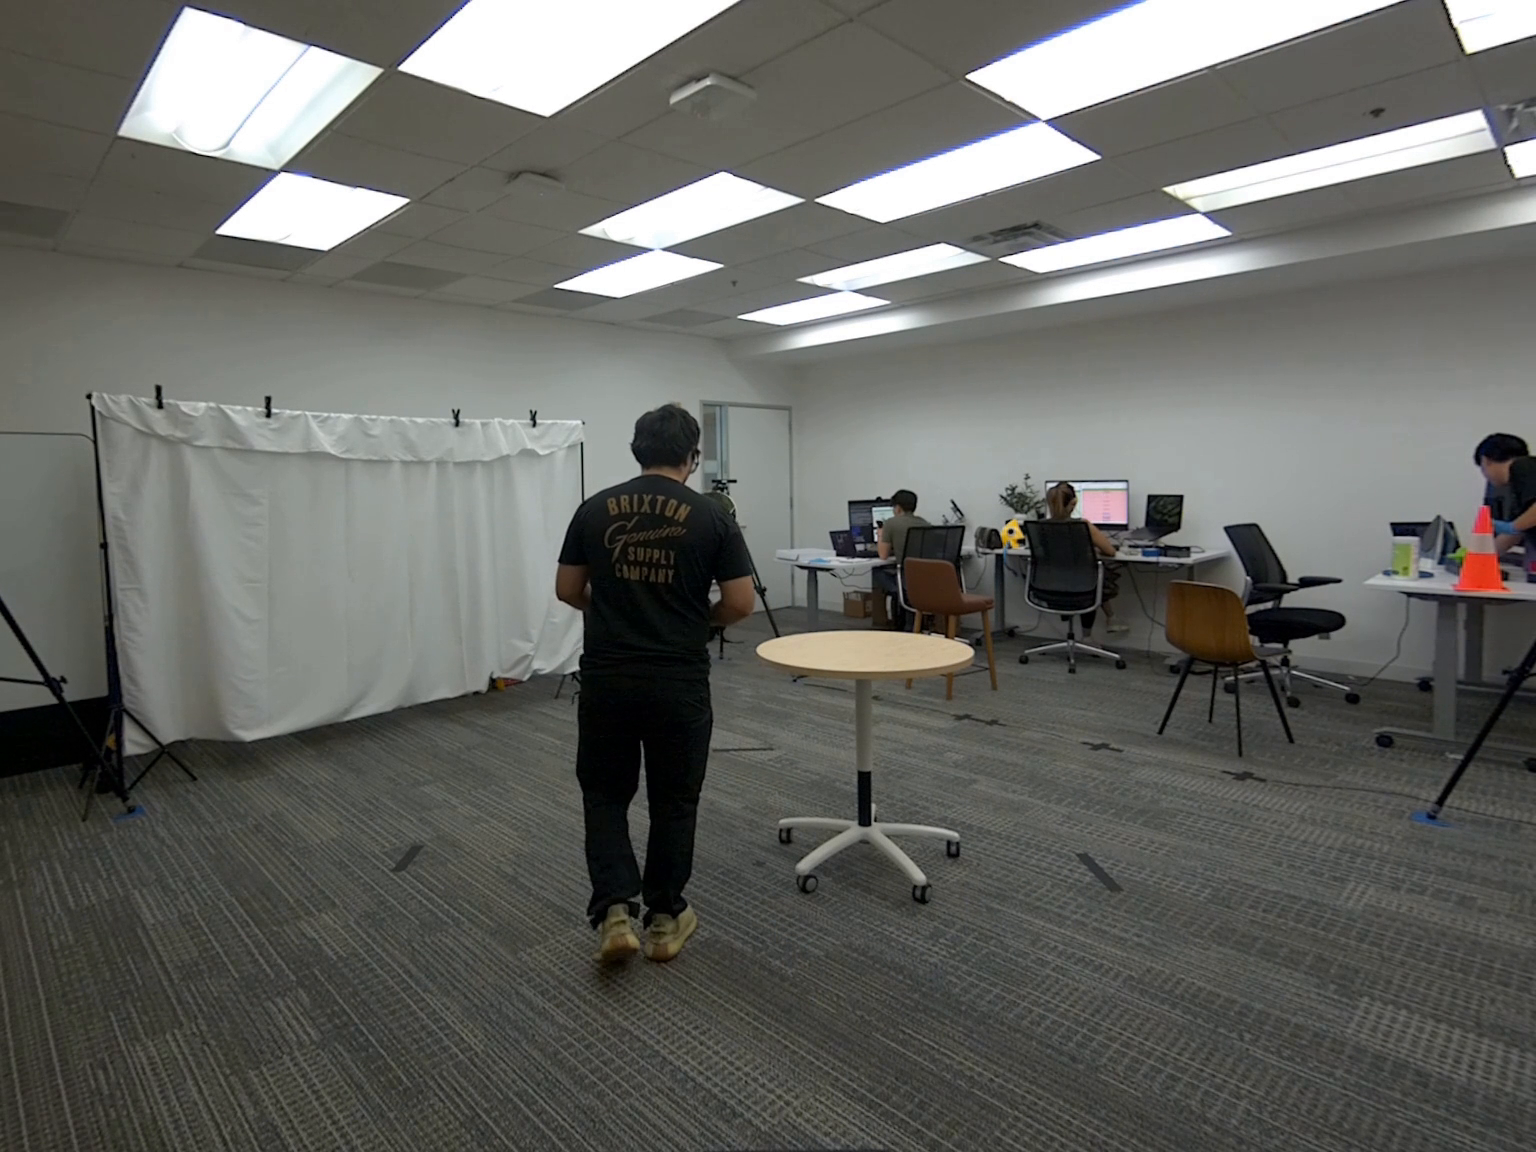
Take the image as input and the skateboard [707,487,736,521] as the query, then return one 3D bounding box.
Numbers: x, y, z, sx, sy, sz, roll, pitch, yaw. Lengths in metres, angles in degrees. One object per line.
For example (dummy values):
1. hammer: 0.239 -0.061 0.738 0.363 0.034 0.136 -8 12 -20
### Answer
1. skateboard: -0.336 0.081 2.775 0.199 0.783 0.107 31 9 24
